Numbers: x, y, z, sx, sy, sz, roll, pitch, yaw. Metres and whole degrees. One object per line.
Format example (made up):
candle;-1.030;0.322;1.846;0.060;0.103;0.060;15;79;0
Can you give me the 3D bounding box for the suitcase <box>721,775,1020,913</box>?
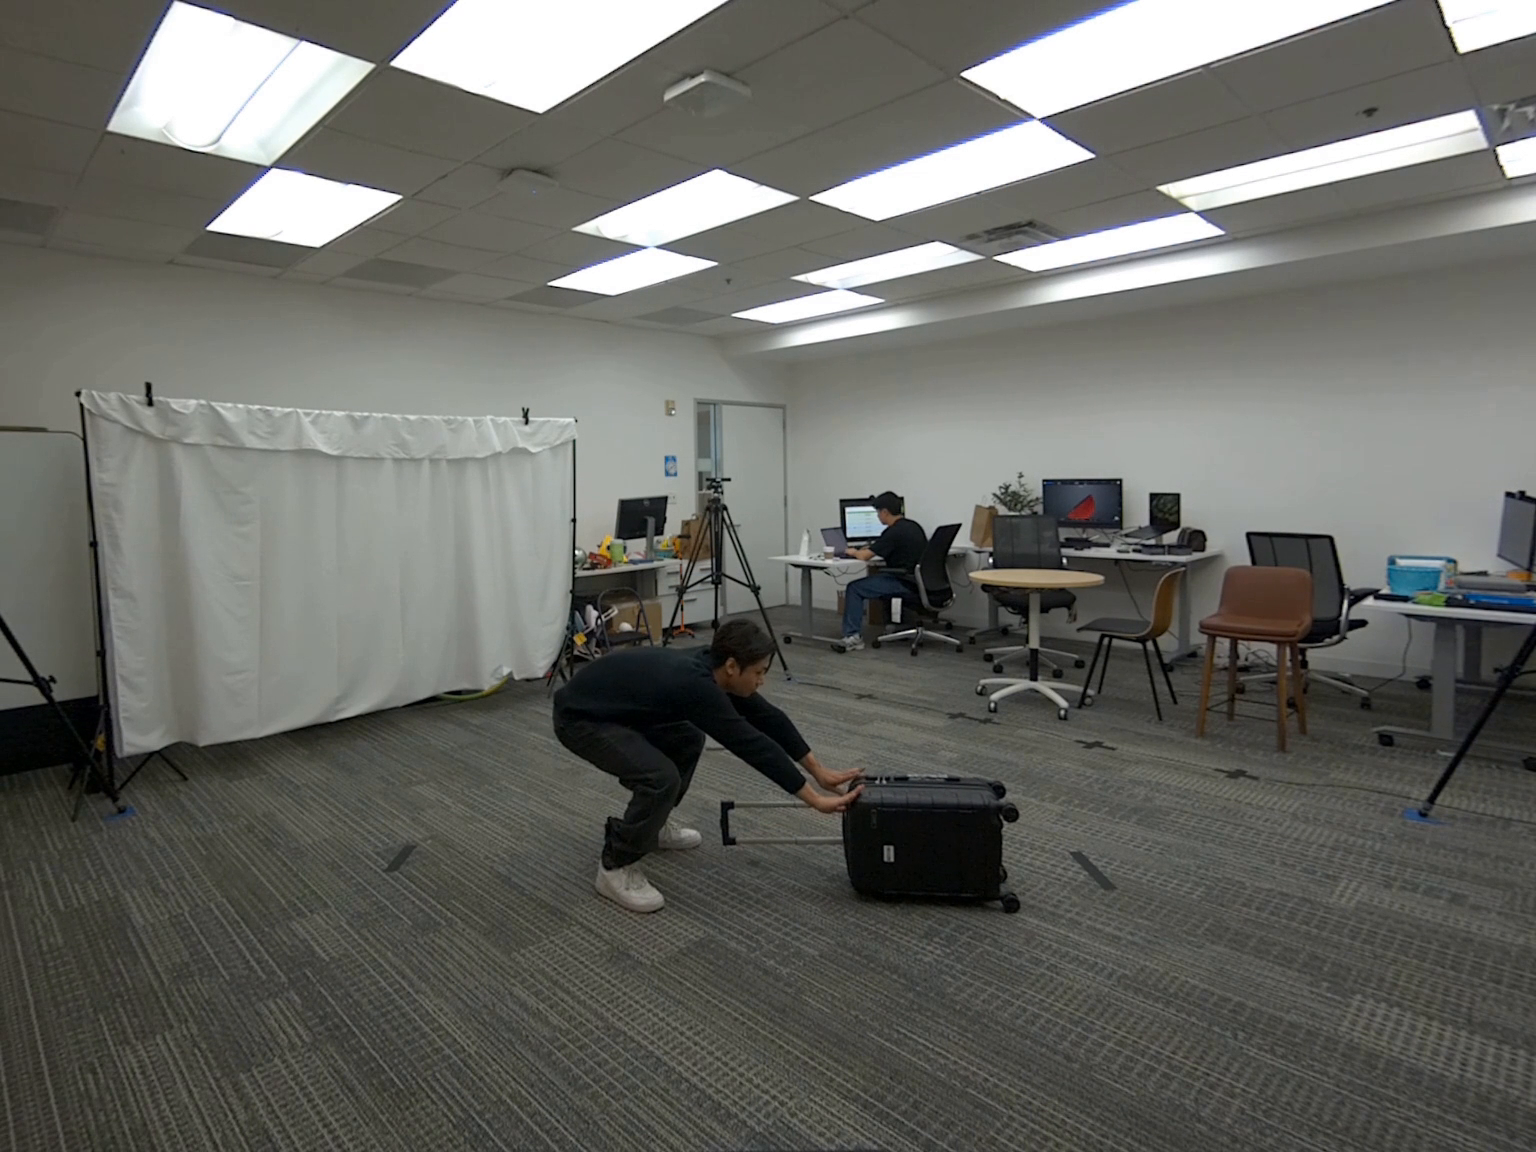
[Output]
suitcase;0.321;0.868;2.881;0.984;0.383;0.256;0;2;6
